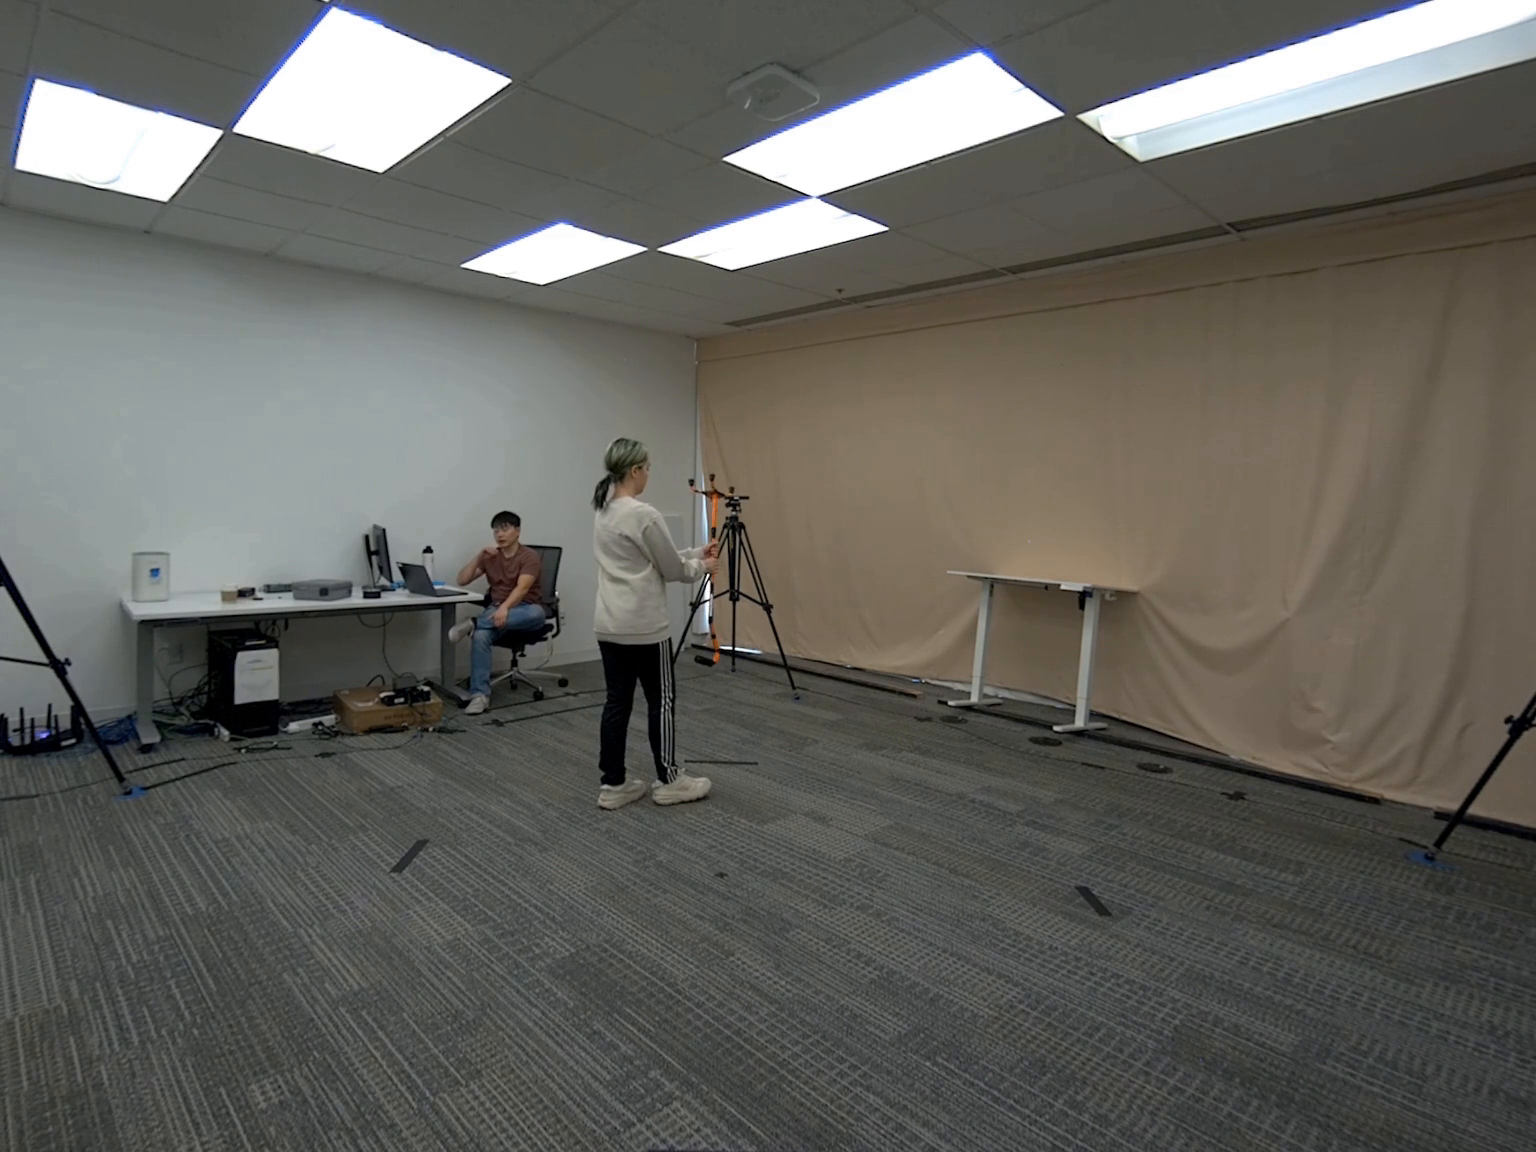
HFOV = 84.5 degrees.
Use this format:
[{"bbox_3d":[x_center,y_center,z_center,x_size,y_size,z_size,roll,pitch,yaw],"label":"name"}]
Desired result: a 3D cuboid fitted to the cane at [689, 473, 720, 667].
[{"bbox_3d":[-0.297,-0.027,4.008,0.154,0.920,0.200,-9,-22,27],"label":"cane"}]
